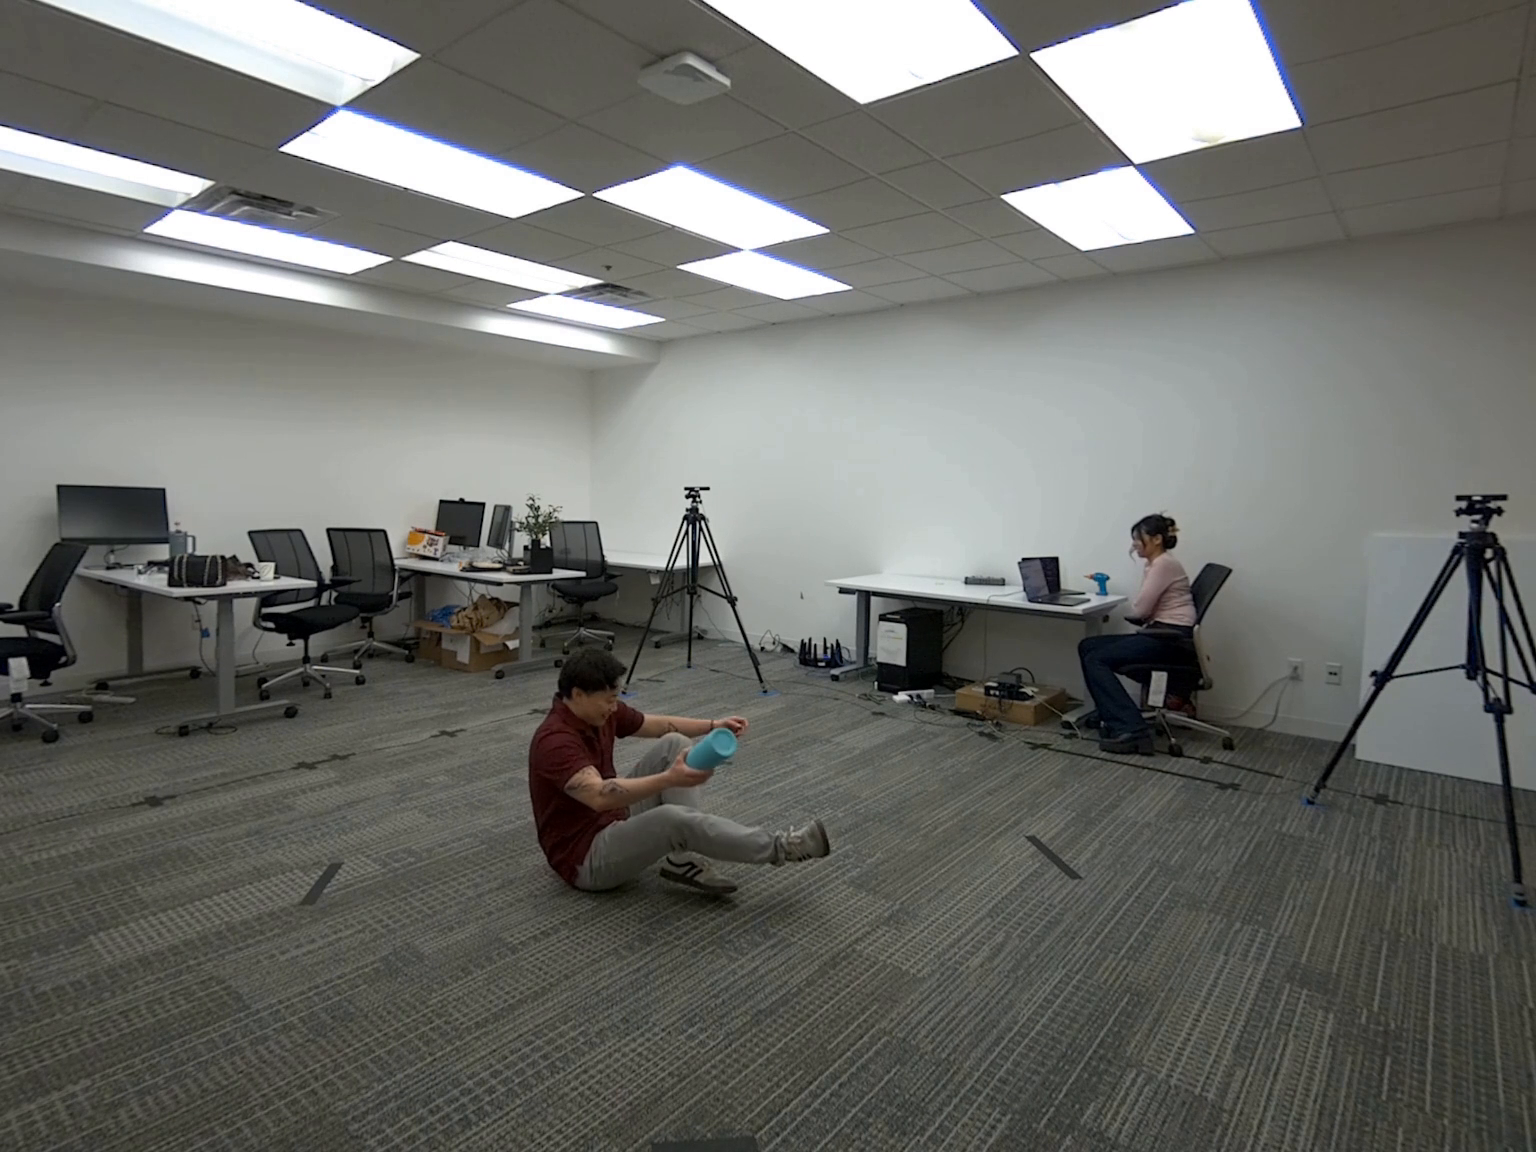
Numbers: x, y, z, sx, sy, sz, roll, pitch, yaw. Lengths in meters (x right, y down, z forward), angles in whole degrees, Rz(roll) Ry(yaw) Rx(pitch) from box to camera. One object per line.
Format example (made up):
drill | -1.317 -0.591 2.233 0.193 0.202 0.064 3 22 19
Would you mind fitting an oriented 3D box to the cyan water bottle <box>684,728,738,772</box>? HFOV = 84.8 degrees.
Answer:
cyan water bottle | -0.192 0.556 2.592 0.090 0.095 0.283 -1 -28 -29
